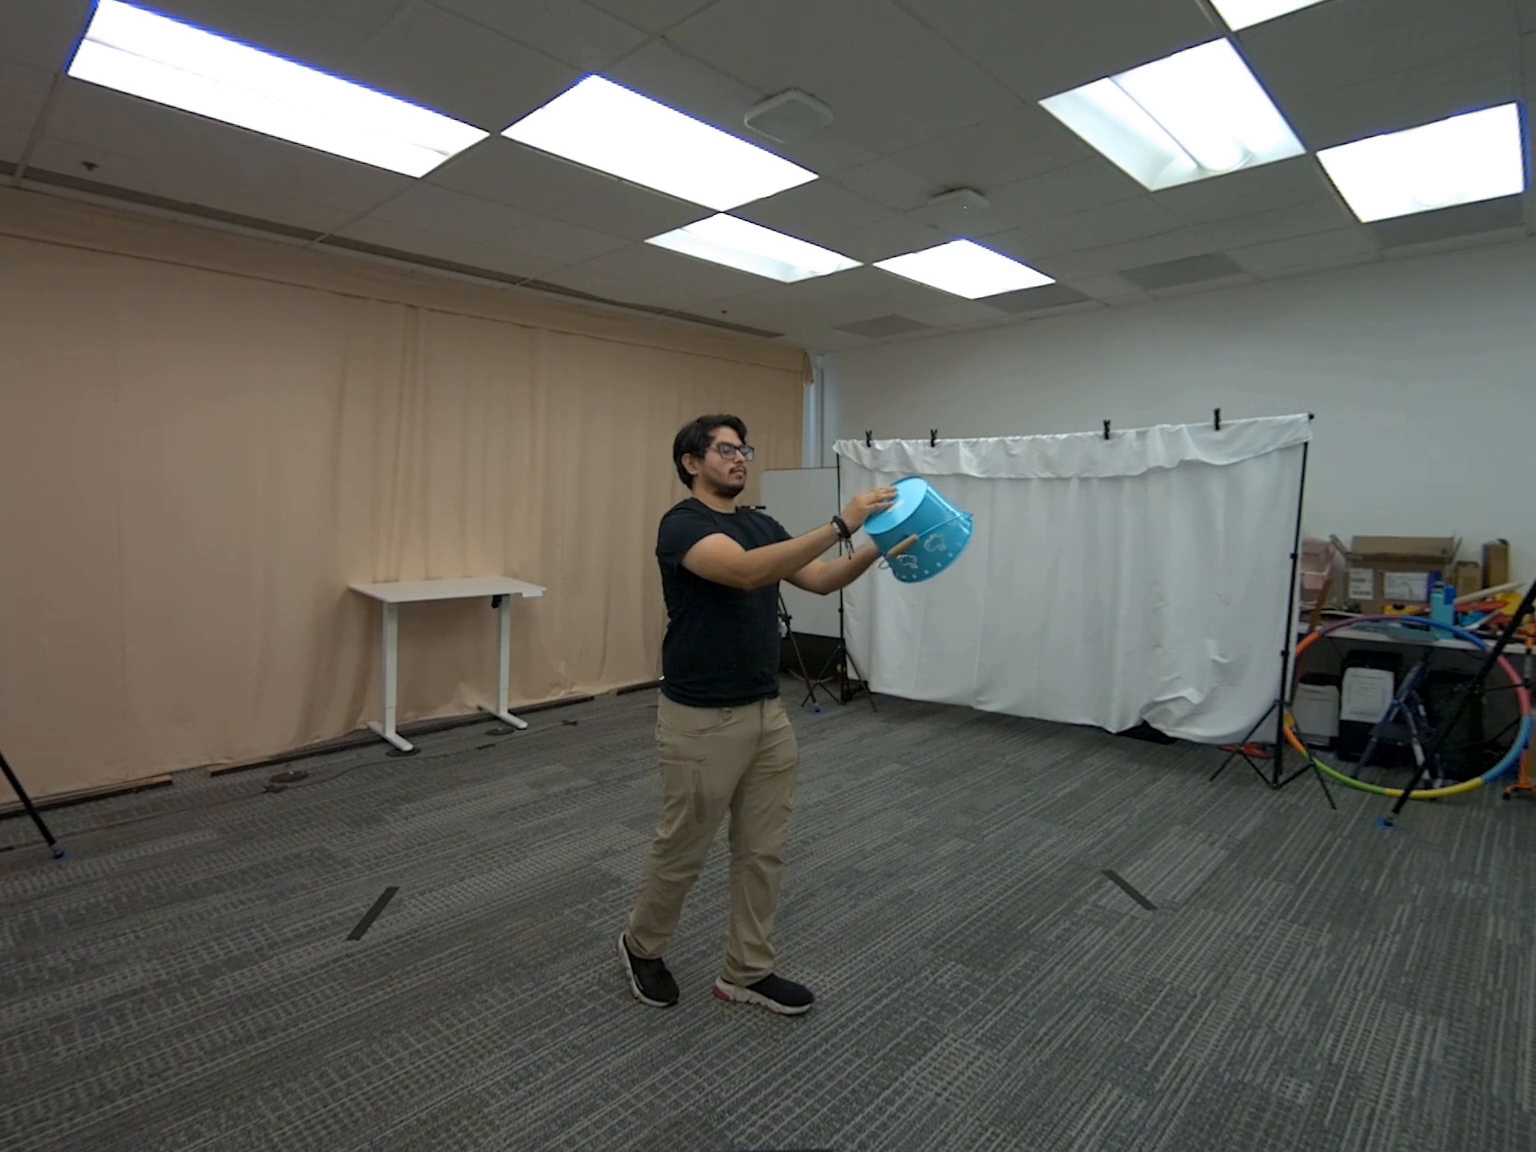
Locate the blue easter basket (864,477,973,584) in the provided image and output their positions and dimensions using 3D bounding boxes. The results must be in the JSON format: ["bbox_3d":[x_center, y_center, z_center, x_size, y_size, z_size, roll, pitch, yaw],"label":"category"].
[{"bbox_3d":[0.345,-0.118,1.989,0.152,0.243,0.251,44,-18,-26],"label":"blue easter basket"}]
